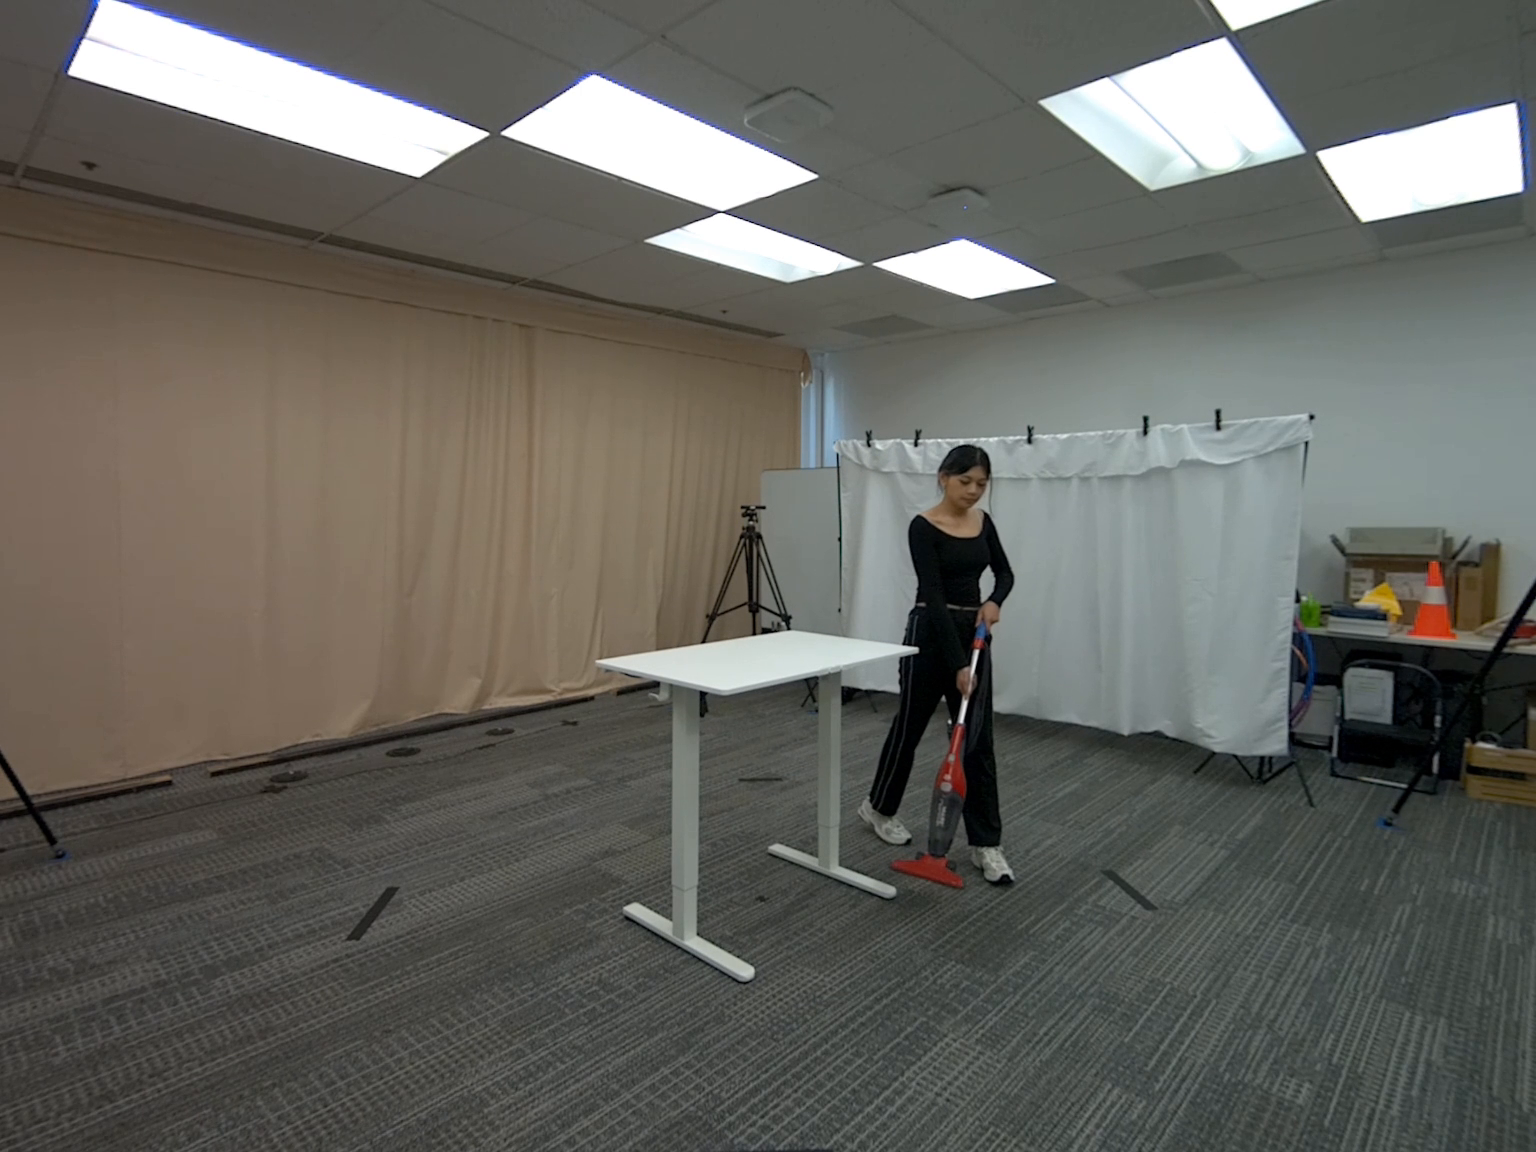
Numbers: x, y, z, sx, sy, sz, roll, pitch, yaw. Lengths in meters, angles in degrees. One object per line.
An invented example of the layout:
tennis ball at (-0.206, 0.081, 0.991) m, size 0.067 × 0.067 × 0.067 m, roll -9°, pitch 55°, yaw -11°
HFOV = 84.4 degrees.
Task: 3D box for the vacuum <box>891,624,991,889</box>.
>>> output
vacuum at (0.712, 0.564, 3.063) m, size 0.259 × 1.054 × 0.139 m, roll 9°, pitch -25°, yaw 24°
